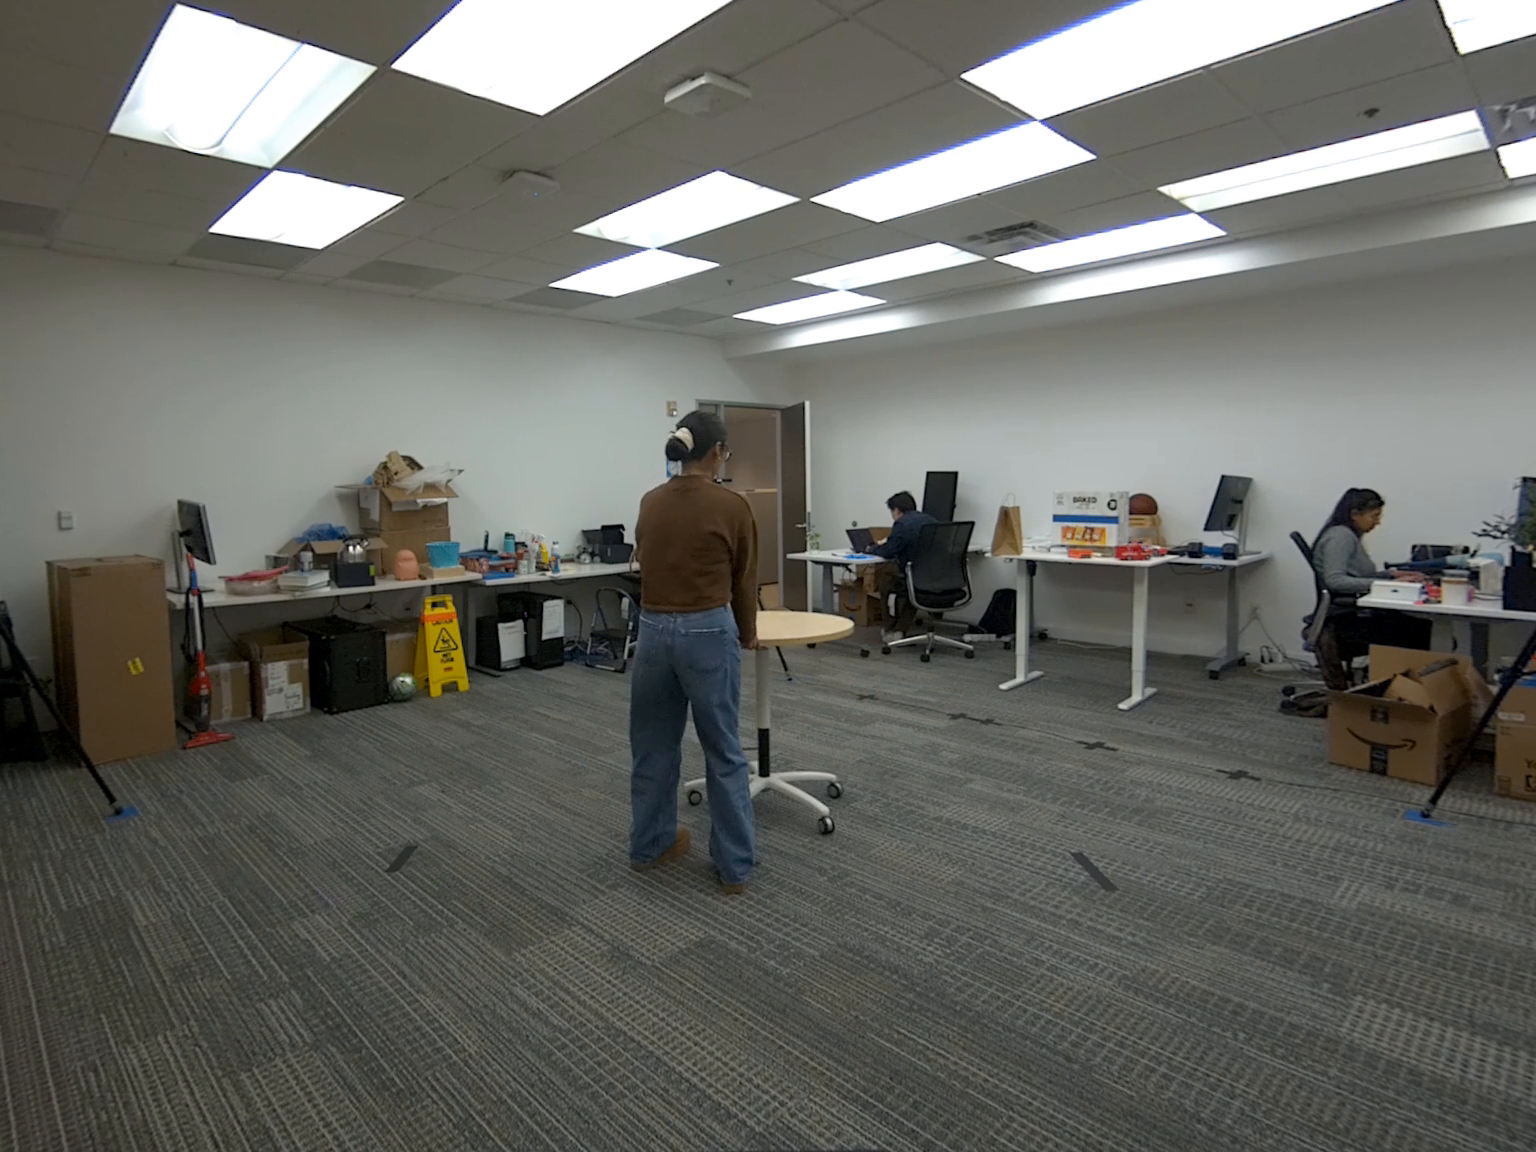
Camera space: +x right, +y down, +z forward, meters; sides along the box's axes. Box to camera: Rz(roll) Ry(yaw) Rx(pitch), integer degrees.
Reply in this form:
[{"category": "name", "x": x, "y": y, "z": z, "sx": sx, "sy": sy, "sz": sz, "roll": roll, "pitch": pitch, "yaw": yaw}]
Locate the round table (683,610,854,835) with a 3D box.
[{"category": "round table", "x": -0.008, "y": 0.596, "z": 3.575, "sx": 0.784, "sy": 0.784, "sz": 0.789, "roll": -2, "pitch": 4, "yaw": -2}]
